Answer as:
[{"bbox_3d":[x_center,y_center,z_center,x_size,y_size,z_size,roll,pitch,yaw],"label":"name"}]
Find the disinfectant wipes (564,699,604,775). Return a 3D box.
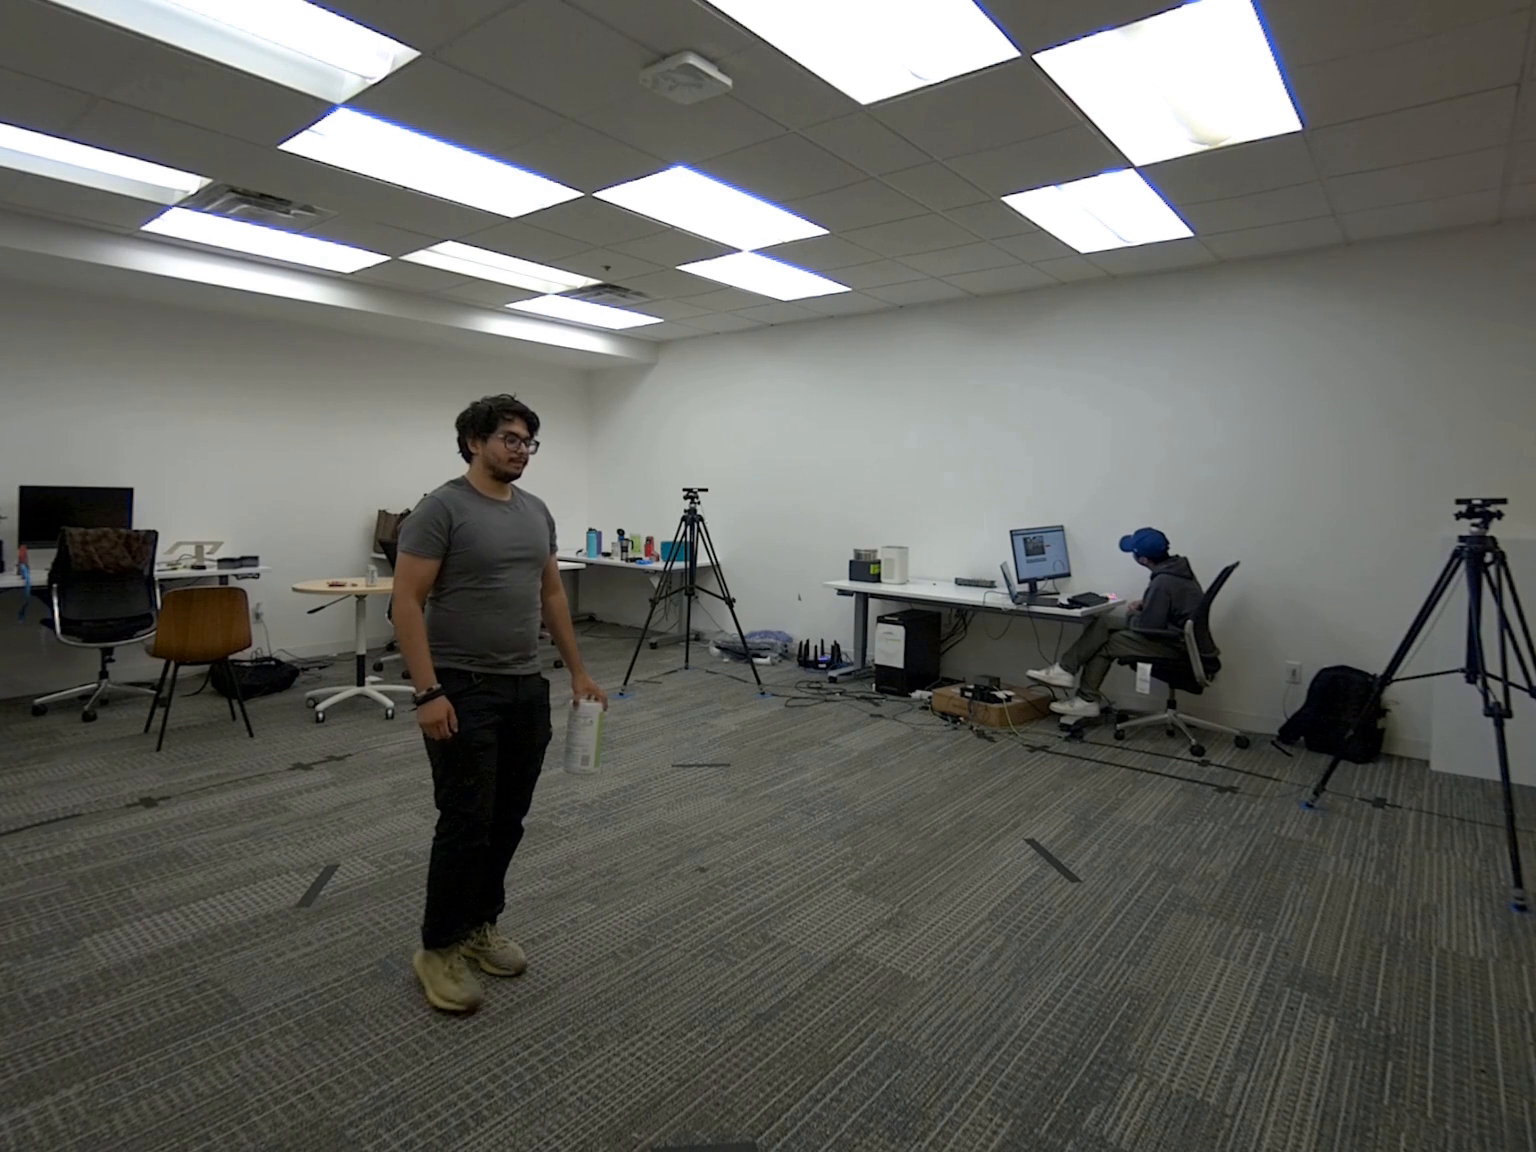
[{"bbox_3d":[-0.585,0.500,2.625,0.118,0.219,0.117,4,-7,-1],"label":"disinfectant wipes"}]
